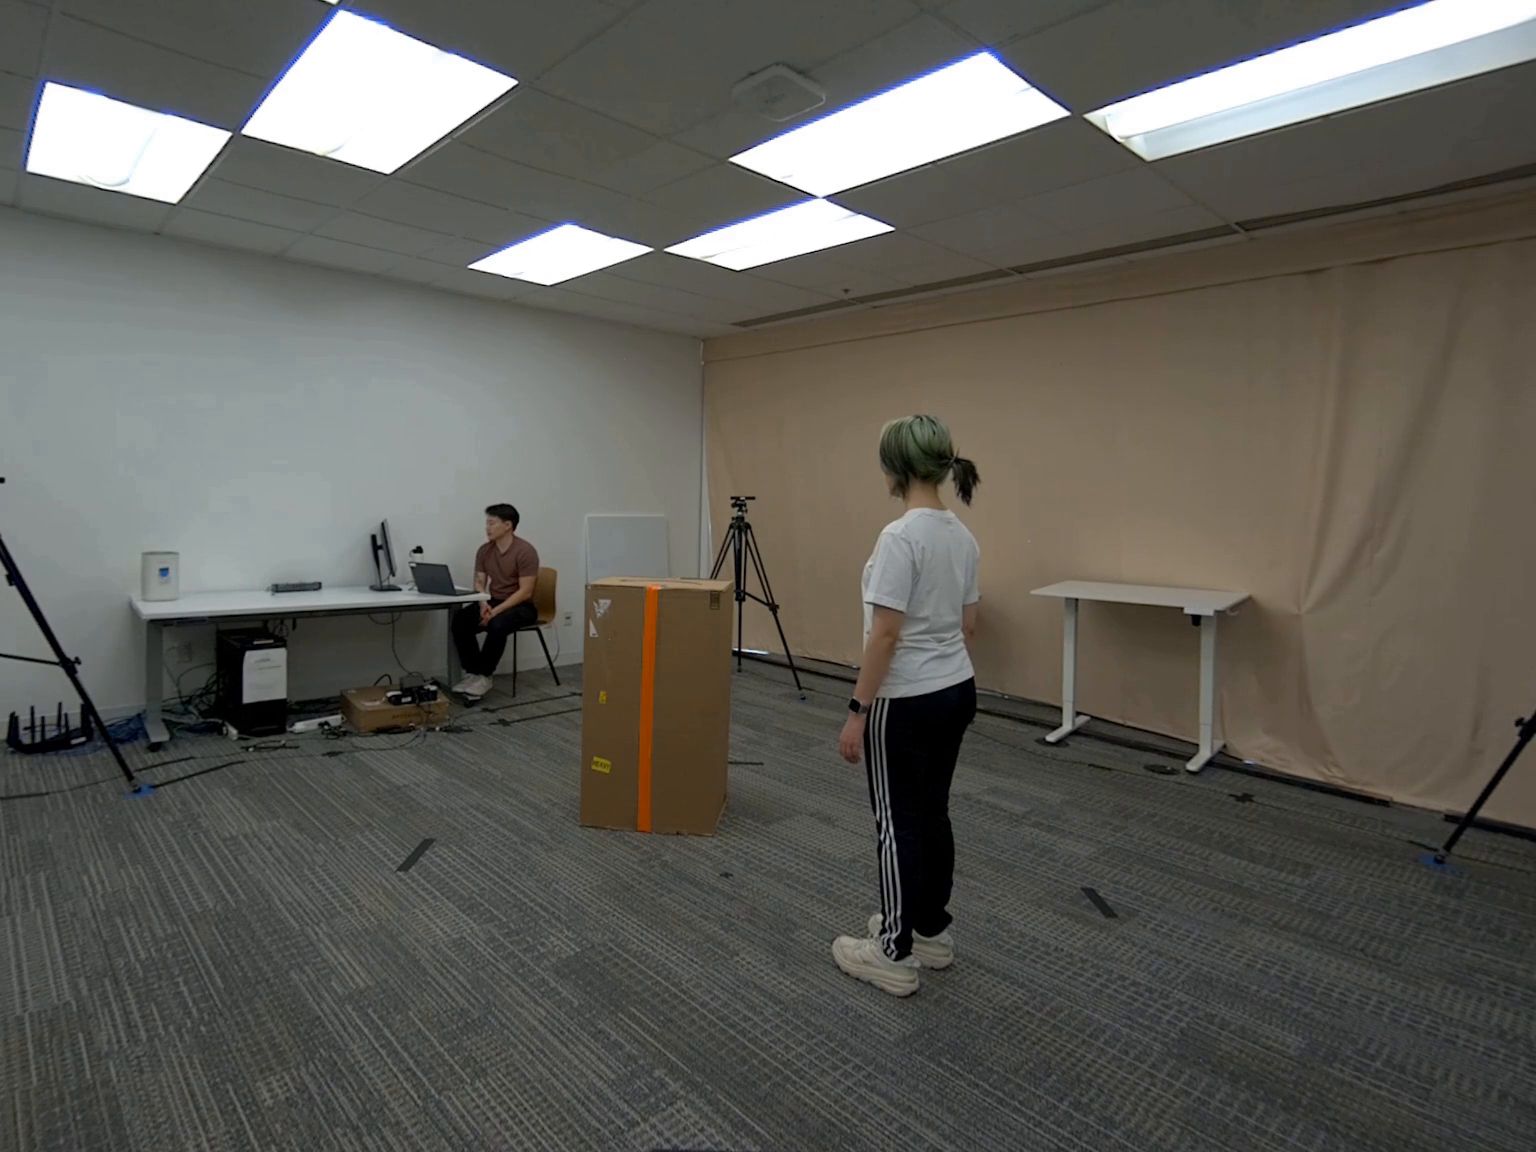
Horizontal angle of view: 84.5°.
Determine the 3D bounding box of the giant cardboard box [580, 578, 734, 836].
[{"bbox_3d":[-0.482,0.537,3.678,0.587,1.025,0.445,3,3,6],"label":"giant cardboard box"}]
